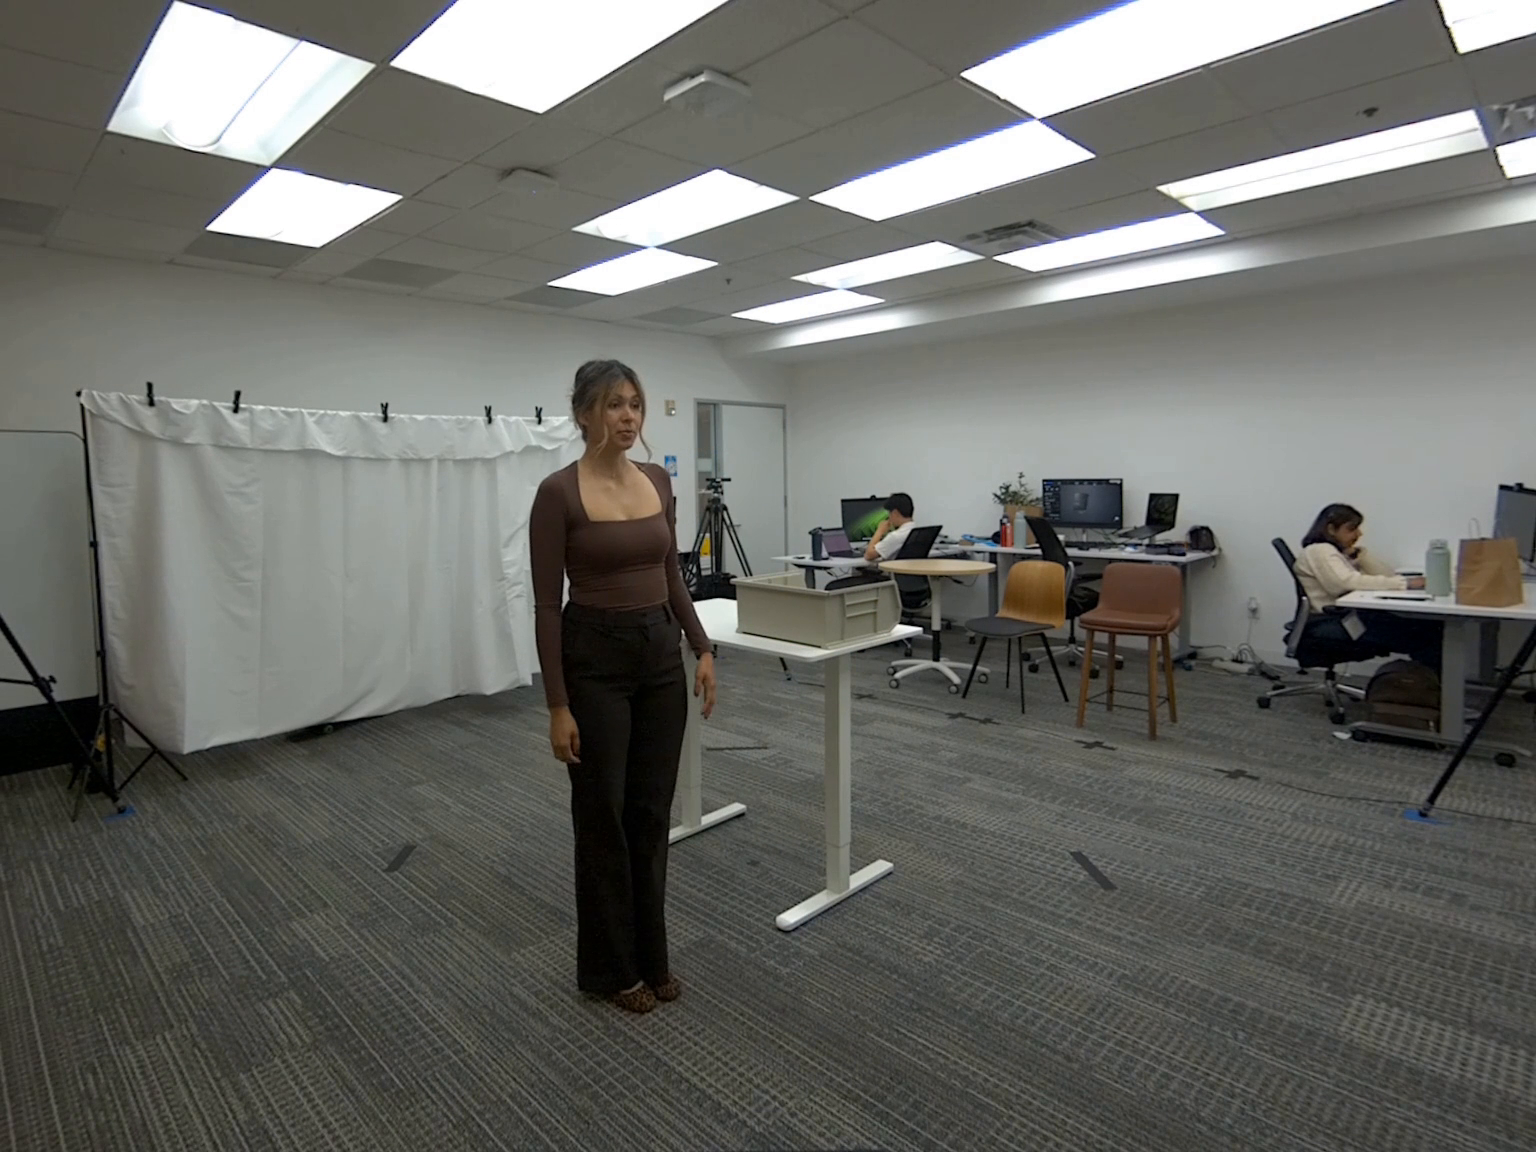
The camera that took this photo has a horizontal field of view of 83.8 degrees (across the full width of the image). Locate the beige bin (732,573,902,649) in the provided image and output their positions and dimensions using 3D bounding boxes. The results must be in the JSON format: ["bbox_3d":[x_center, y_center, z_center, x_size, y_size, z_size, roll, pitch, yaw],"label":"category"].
[{"bbox_3d":[0.162,0.104,2.821,0.368,0.188,0.436,-9,11,-44],"label":"beige bin"}]
